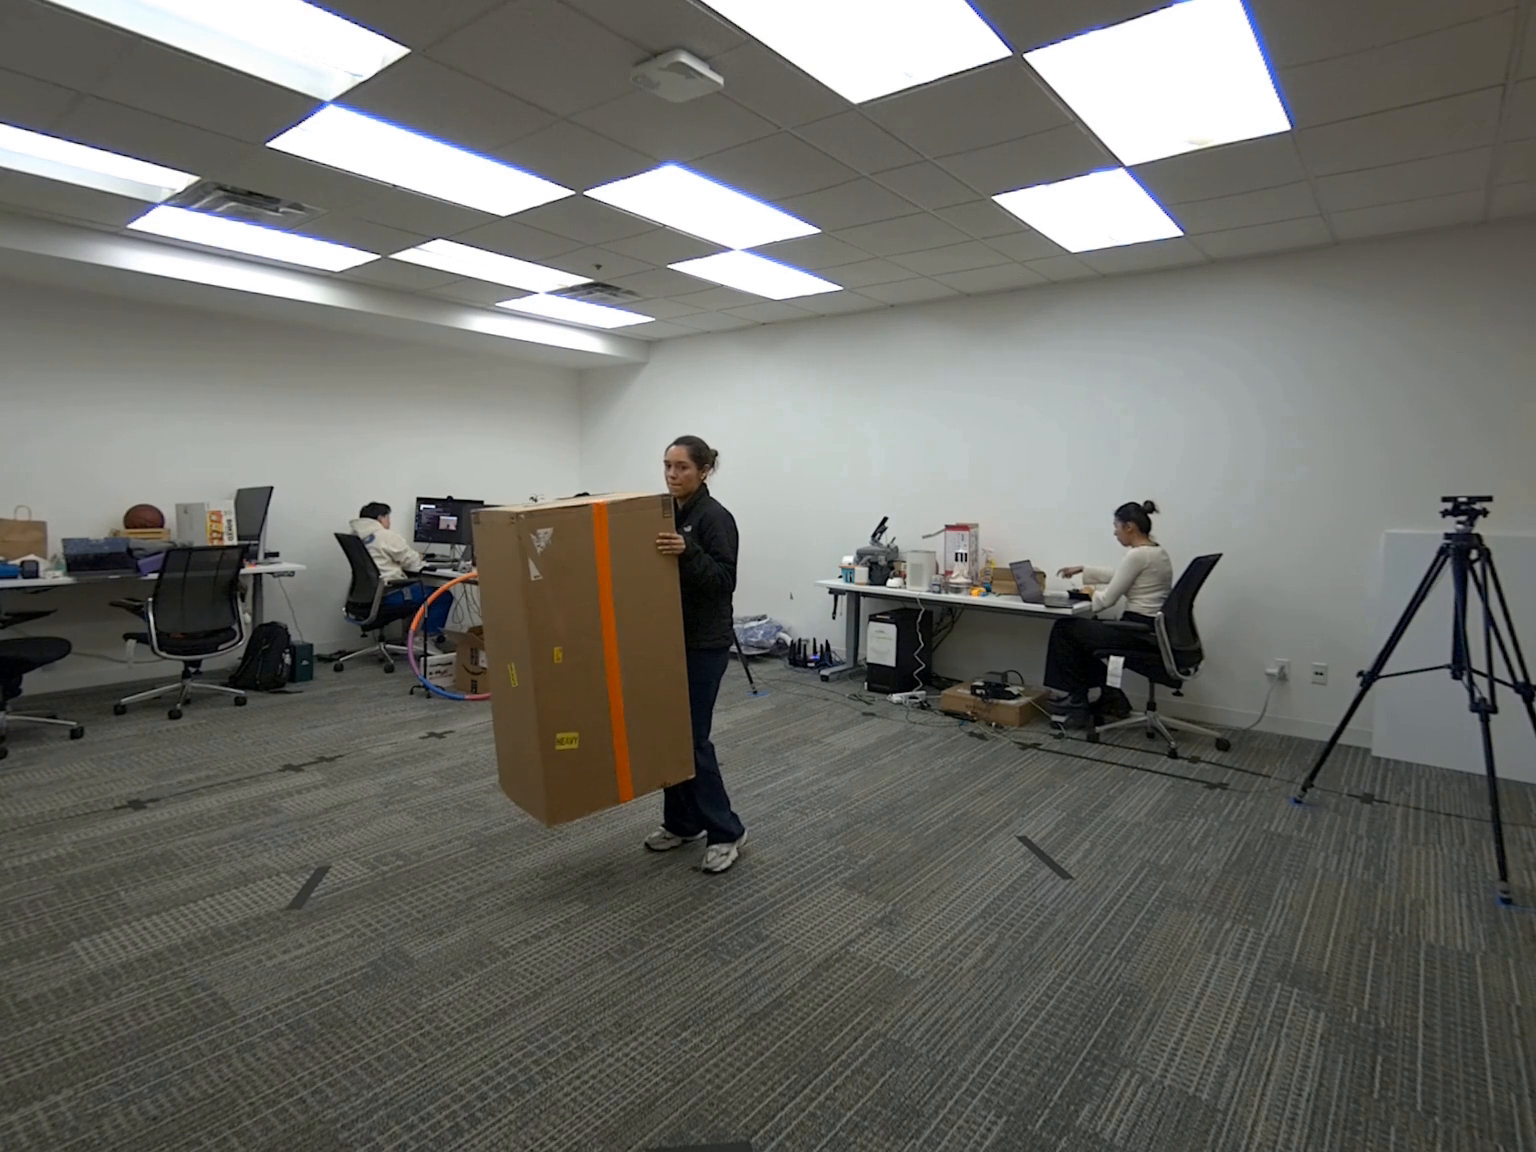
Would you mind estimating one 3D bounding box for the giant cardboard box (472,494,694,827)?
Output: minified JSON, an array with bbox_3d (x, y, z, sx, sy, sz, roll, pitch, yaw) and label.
[{"bbox_3d":[-0.628,0.247,3.003,0.563,1.019,0.440,-9,7,-35],"label":"giant cardboard box"}]
